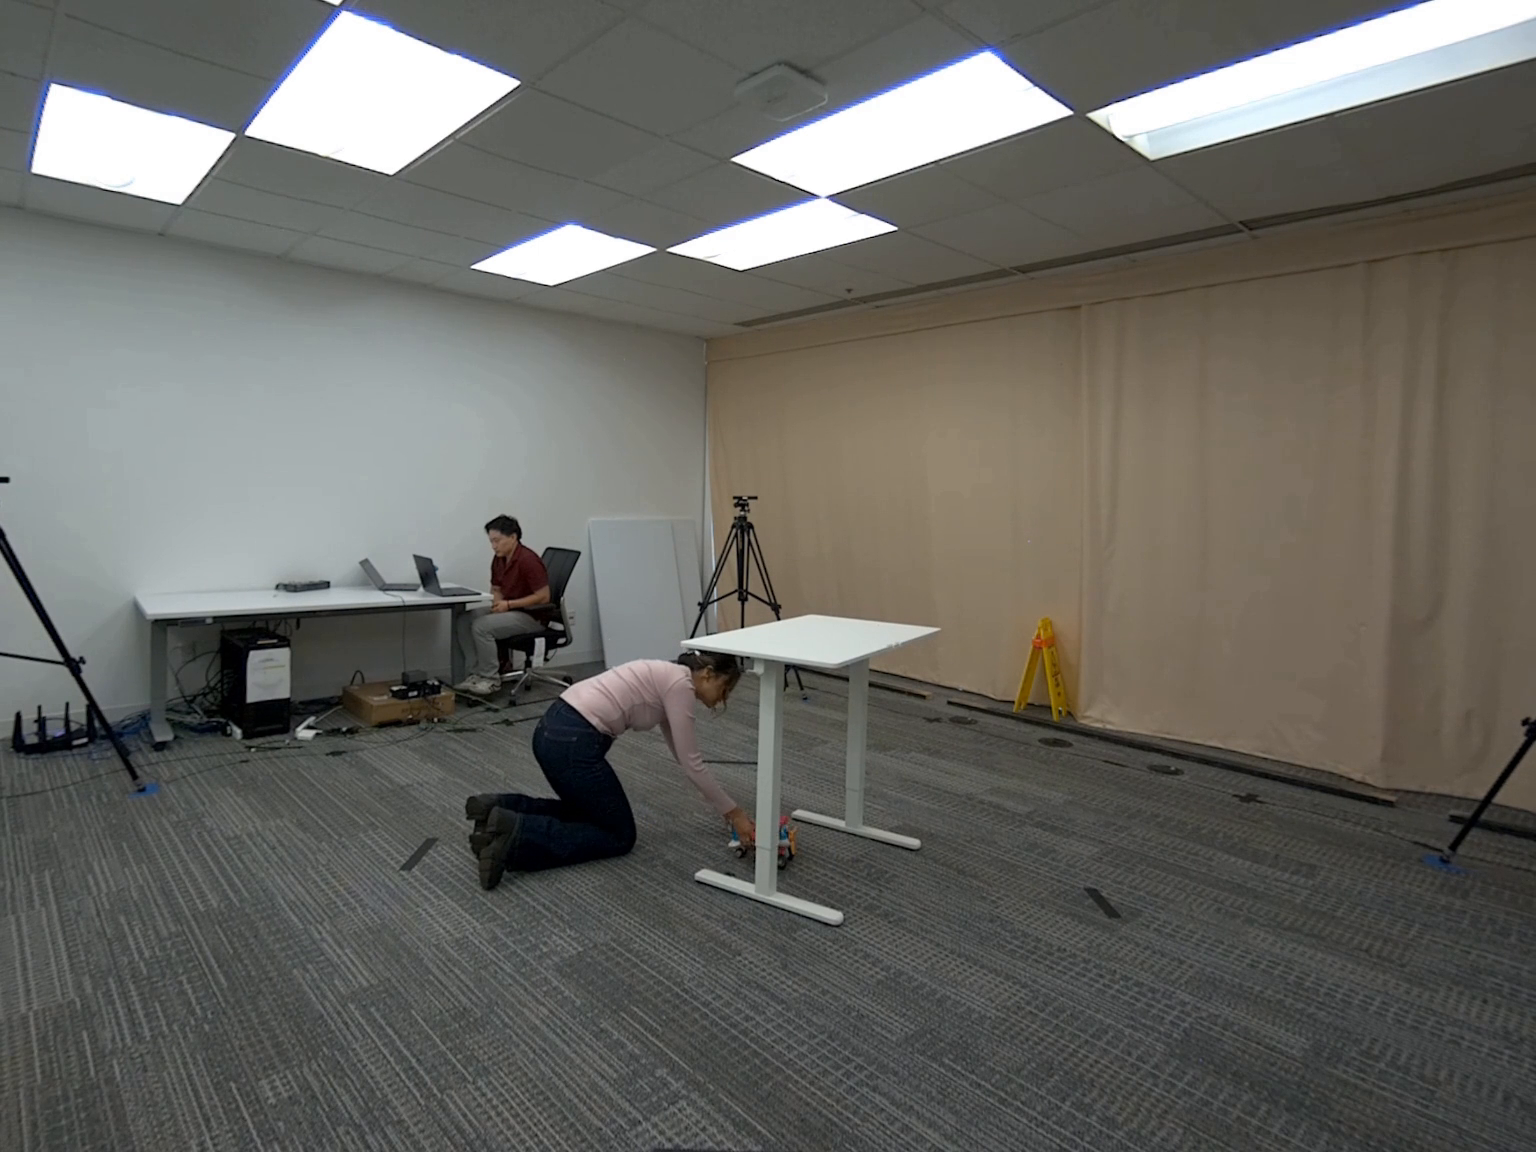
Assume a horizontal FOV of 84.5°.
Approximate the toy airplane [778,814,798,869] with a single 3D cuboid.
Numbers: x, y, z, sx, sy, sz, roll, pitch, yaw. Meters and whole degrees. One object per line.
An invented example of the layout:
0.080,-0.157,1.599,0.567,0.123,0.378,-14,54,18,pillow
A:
-0.036,1.025,3.211,0.258,0.156,0.253,3,2,-7,toy airplane
